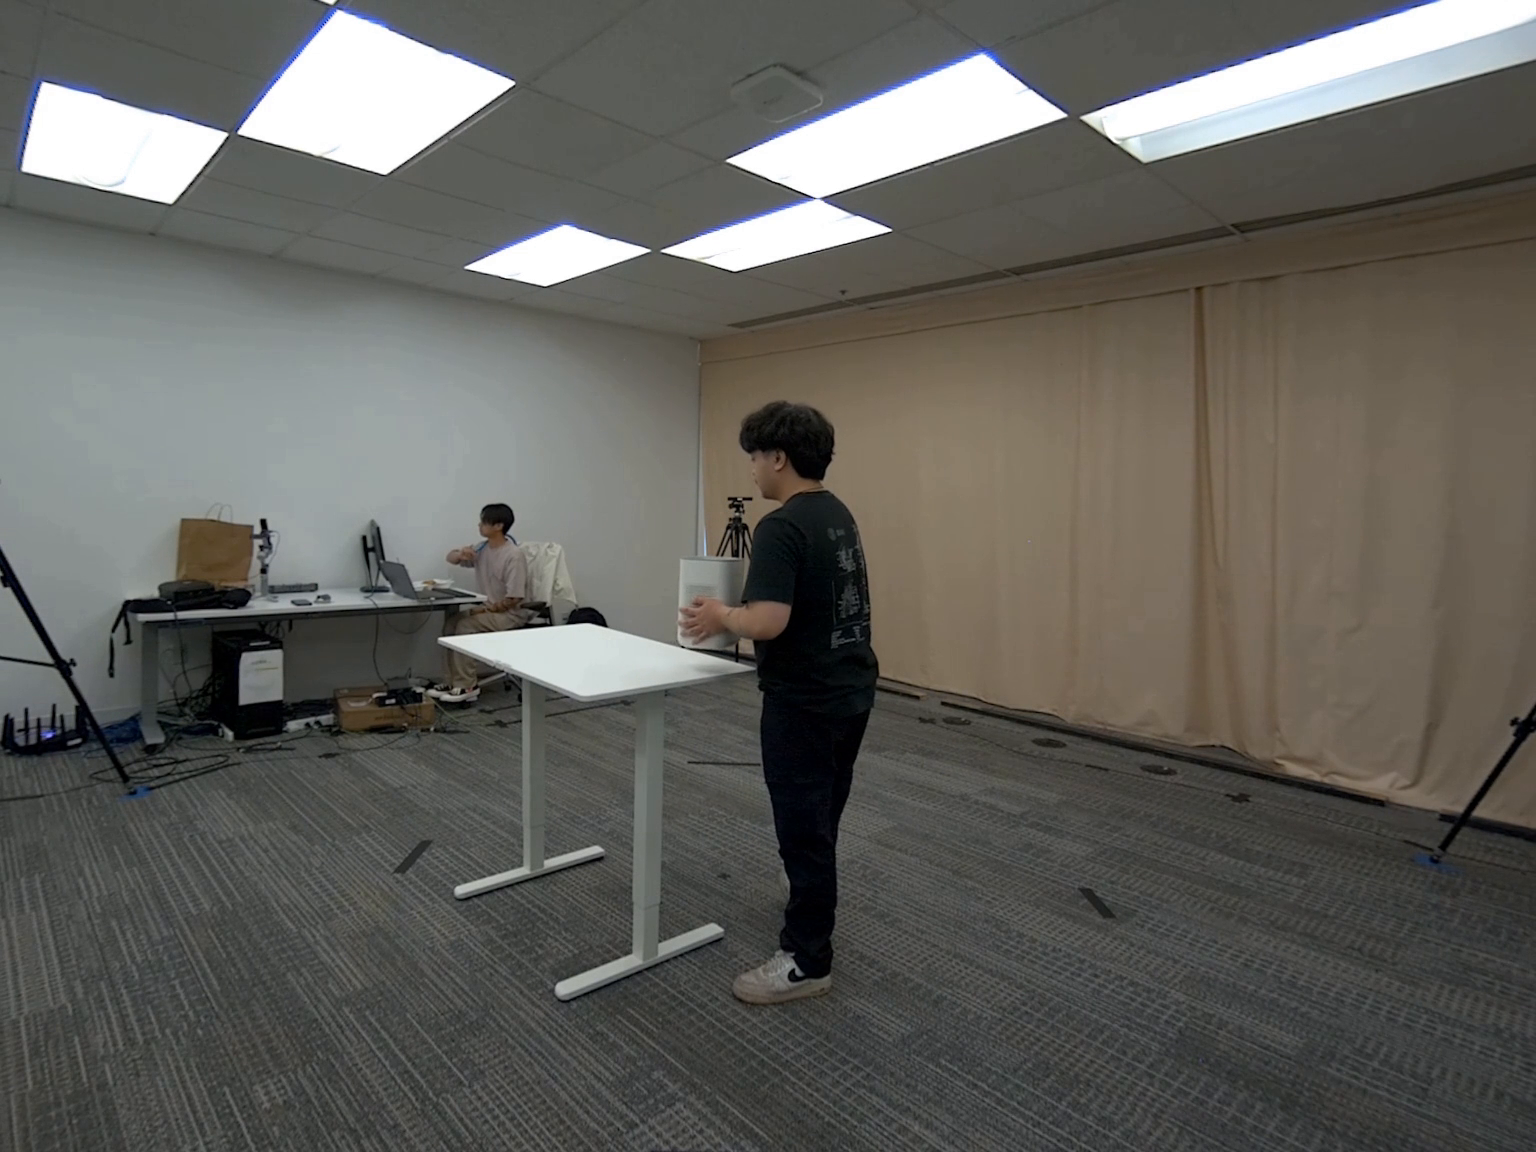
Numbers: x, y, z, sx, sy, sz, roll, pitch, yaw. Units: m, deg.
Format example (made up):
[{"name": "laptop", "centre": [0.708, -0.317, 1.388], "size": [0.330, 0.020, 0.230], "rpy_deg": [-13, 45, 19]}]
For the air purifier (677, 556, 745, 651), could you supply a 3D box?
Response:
[{"name": "air purifier", "centre": [-0.172, 0.079, 2.517], "size": [0.174, 0.265, 0.169], "rpy_deg": [4, 3, 17]}]
